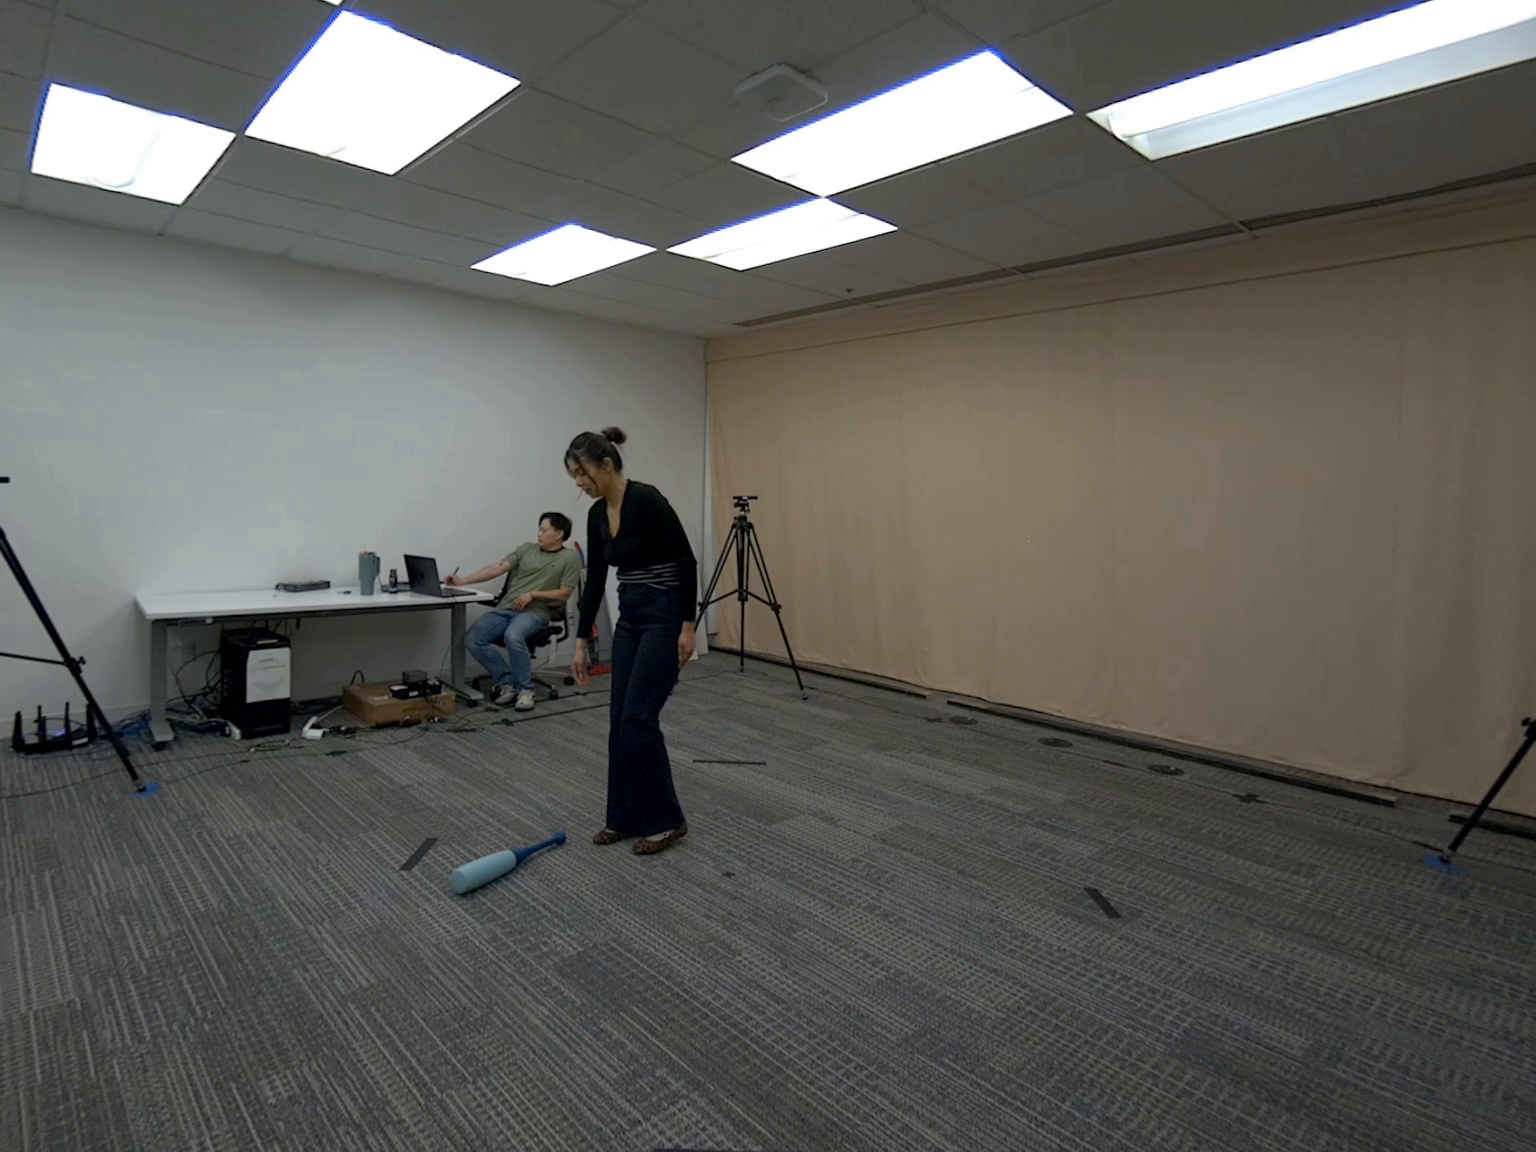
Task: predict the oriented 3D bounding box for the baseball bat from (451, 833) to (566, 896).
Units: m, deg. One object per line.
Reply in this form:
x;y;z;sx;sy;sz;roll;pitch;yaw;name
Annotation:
-0.950;1.046;3.118;0.091;0.089;0.533;3;3;26;baseball bat
